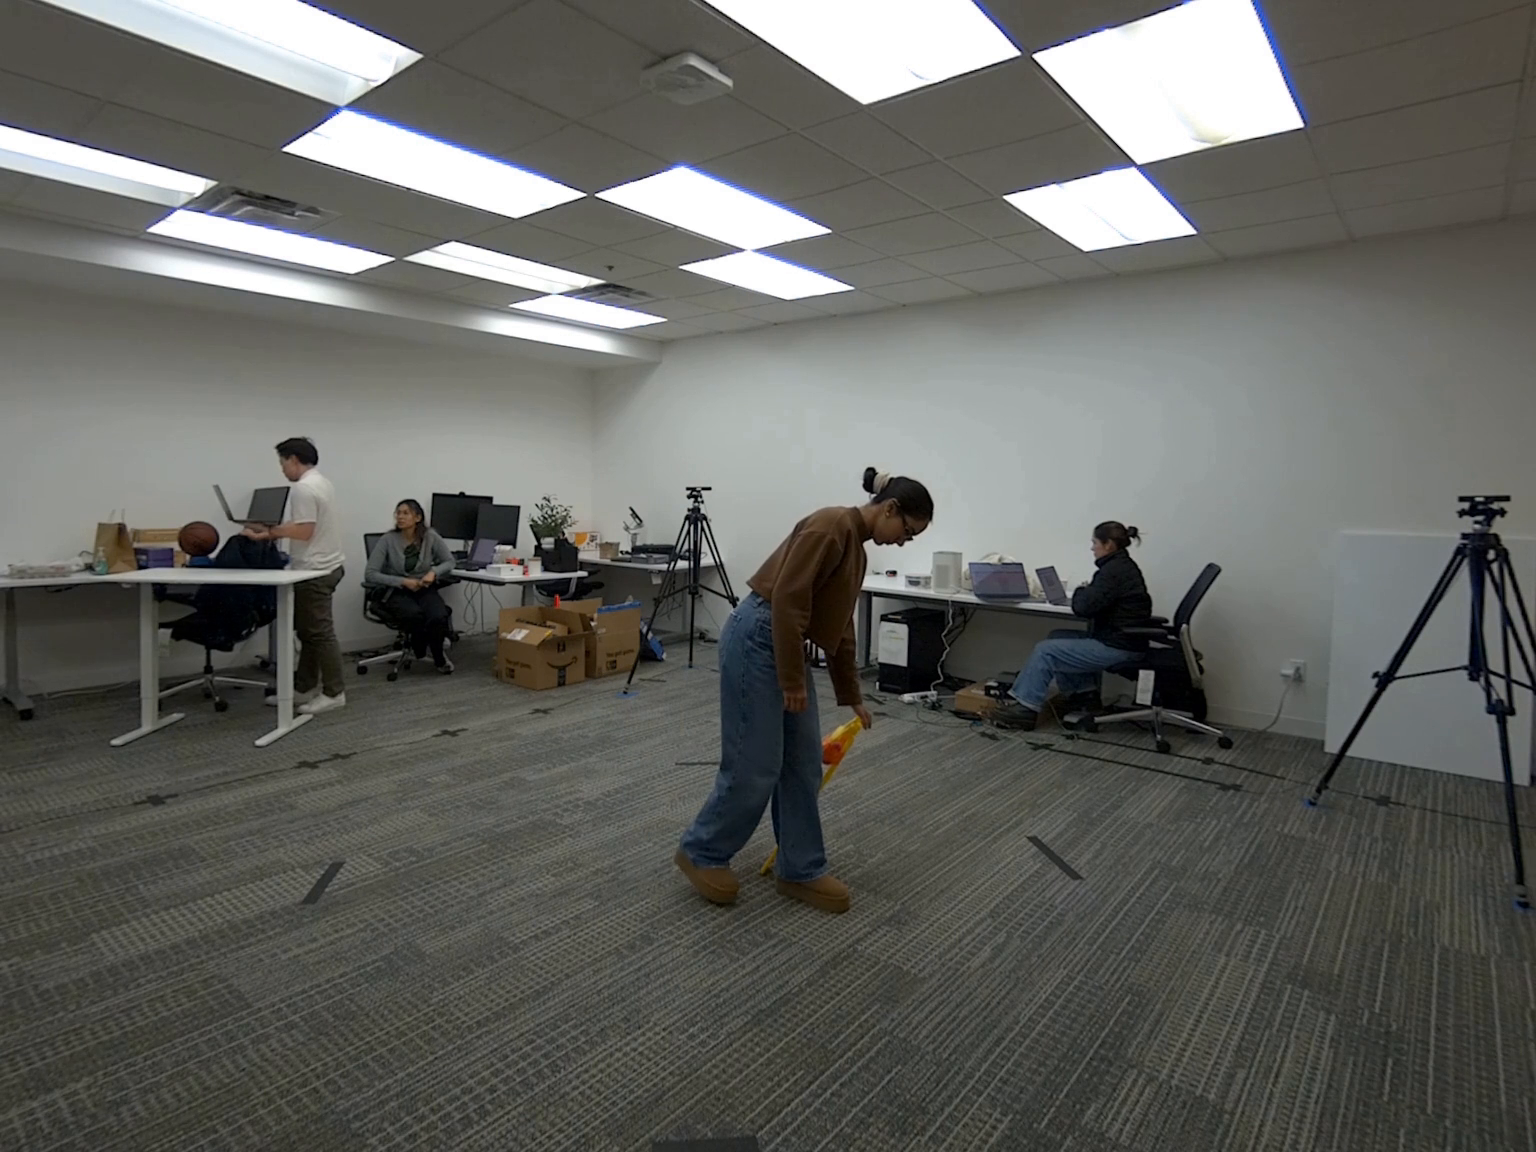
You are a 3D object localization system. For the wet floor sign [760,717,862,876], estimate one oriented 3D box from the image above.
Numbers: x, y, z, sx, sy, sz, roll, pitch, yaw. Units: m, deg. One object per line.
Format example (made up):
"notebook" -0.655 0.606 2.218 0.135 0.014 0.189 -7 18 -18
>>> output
"wet floor sign" 0.132 0.747 3.146 0.294 0.646 0.278 44 14 10
